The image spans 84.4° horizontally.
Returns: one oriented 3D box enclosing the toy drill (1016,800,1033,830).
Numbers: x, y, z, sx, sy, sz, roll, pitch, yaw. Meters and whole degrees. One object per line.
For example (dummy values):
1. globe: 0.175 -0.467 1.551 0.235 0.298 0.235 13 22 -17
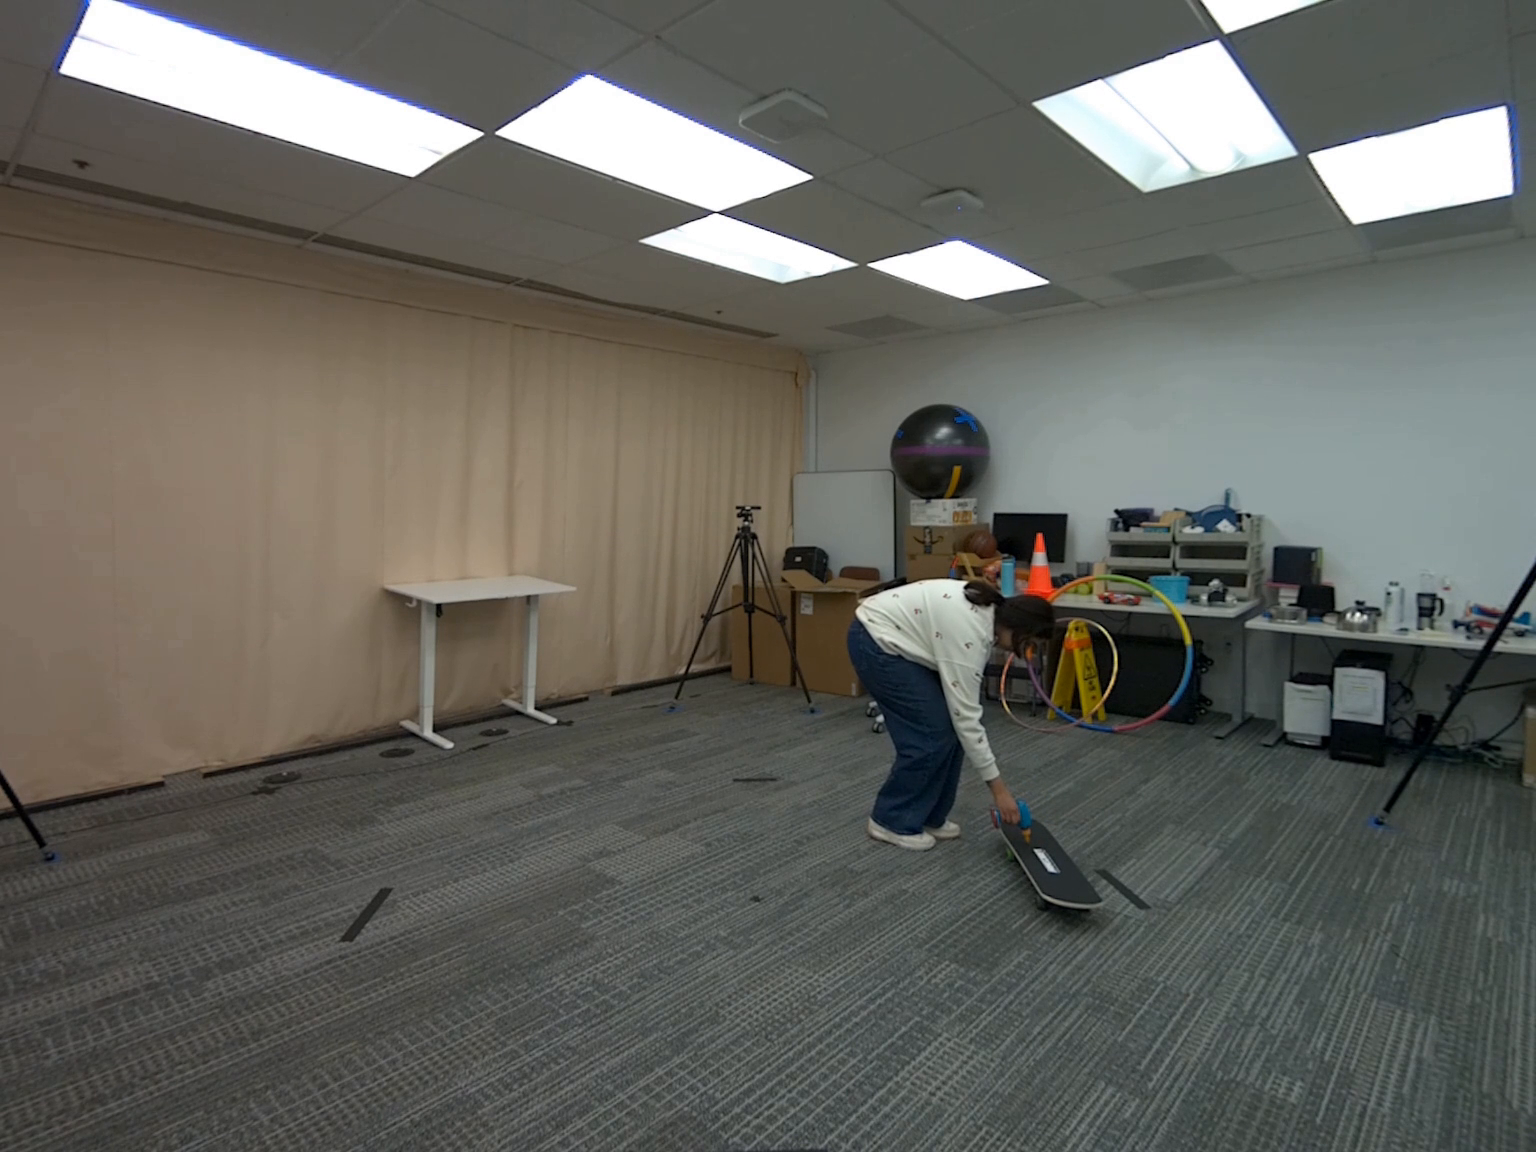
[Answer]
1. toy drill: 0.961 0.960 3.251 0.146 0.169 0.061 -13 5 3
